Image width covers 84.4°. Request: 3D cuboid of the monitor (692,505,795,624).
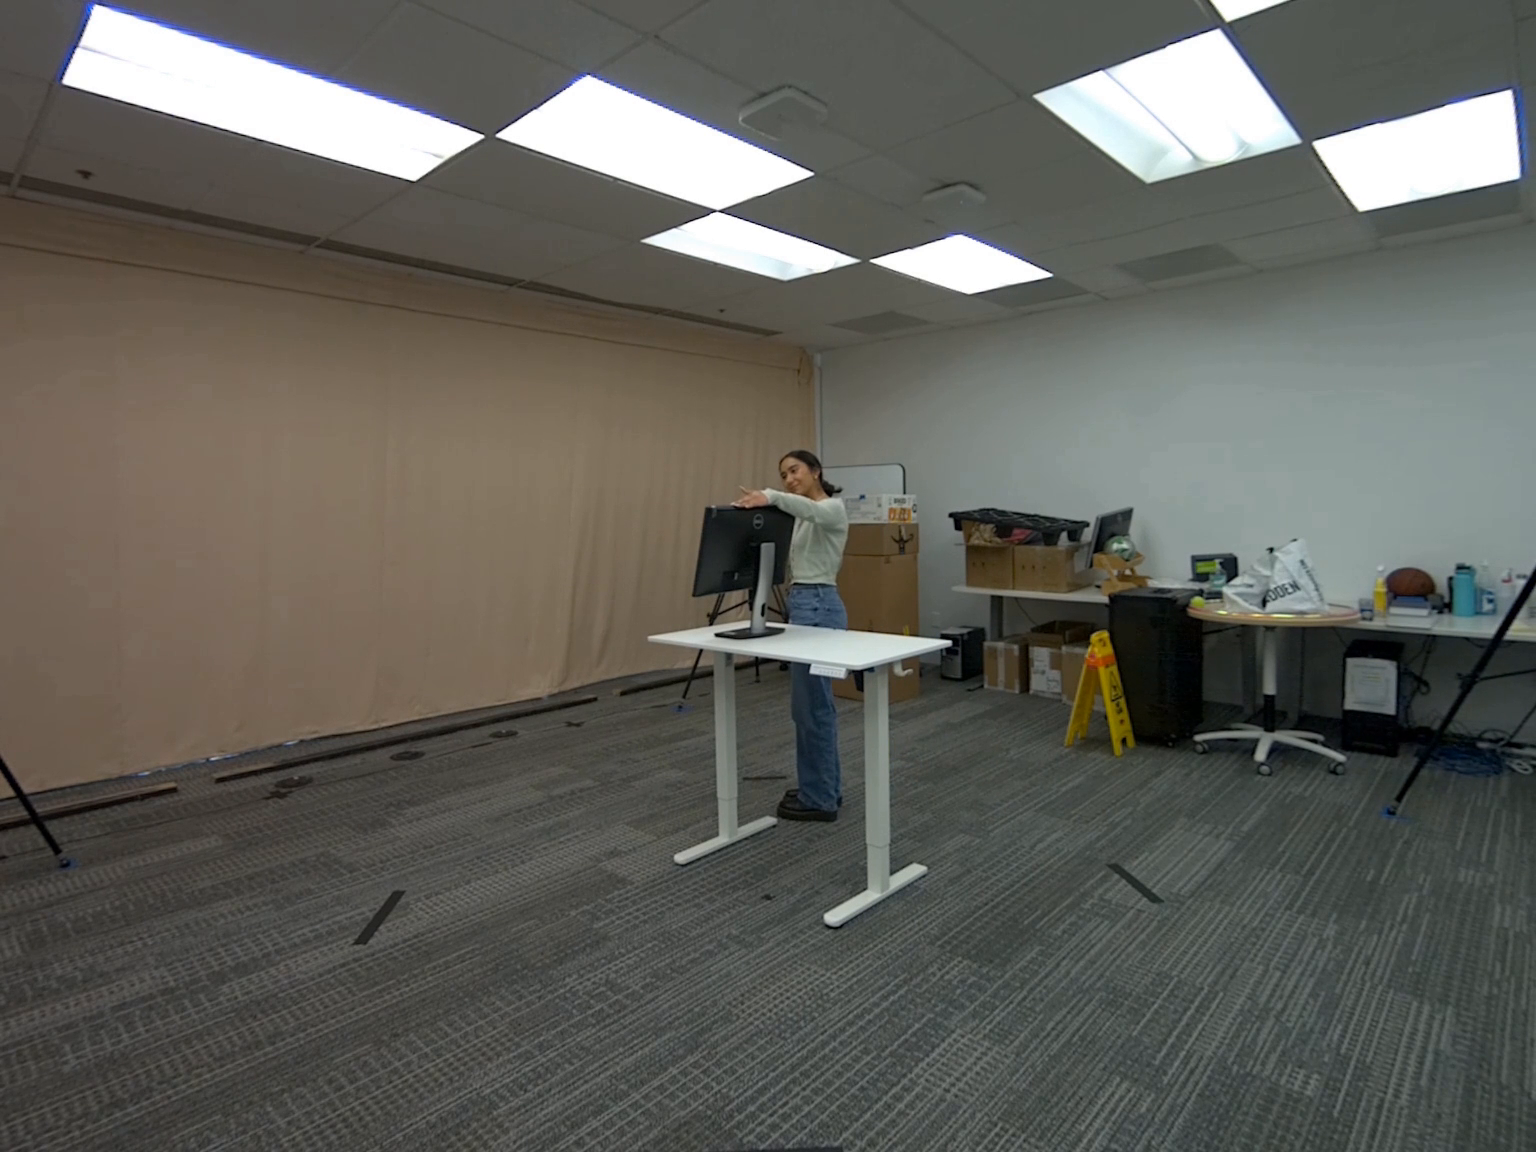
[{"bbox_3d":[-0.057,-0.019,3.306,0.193,0.521,0.523,4,6,40],"label":"monitor"}]
